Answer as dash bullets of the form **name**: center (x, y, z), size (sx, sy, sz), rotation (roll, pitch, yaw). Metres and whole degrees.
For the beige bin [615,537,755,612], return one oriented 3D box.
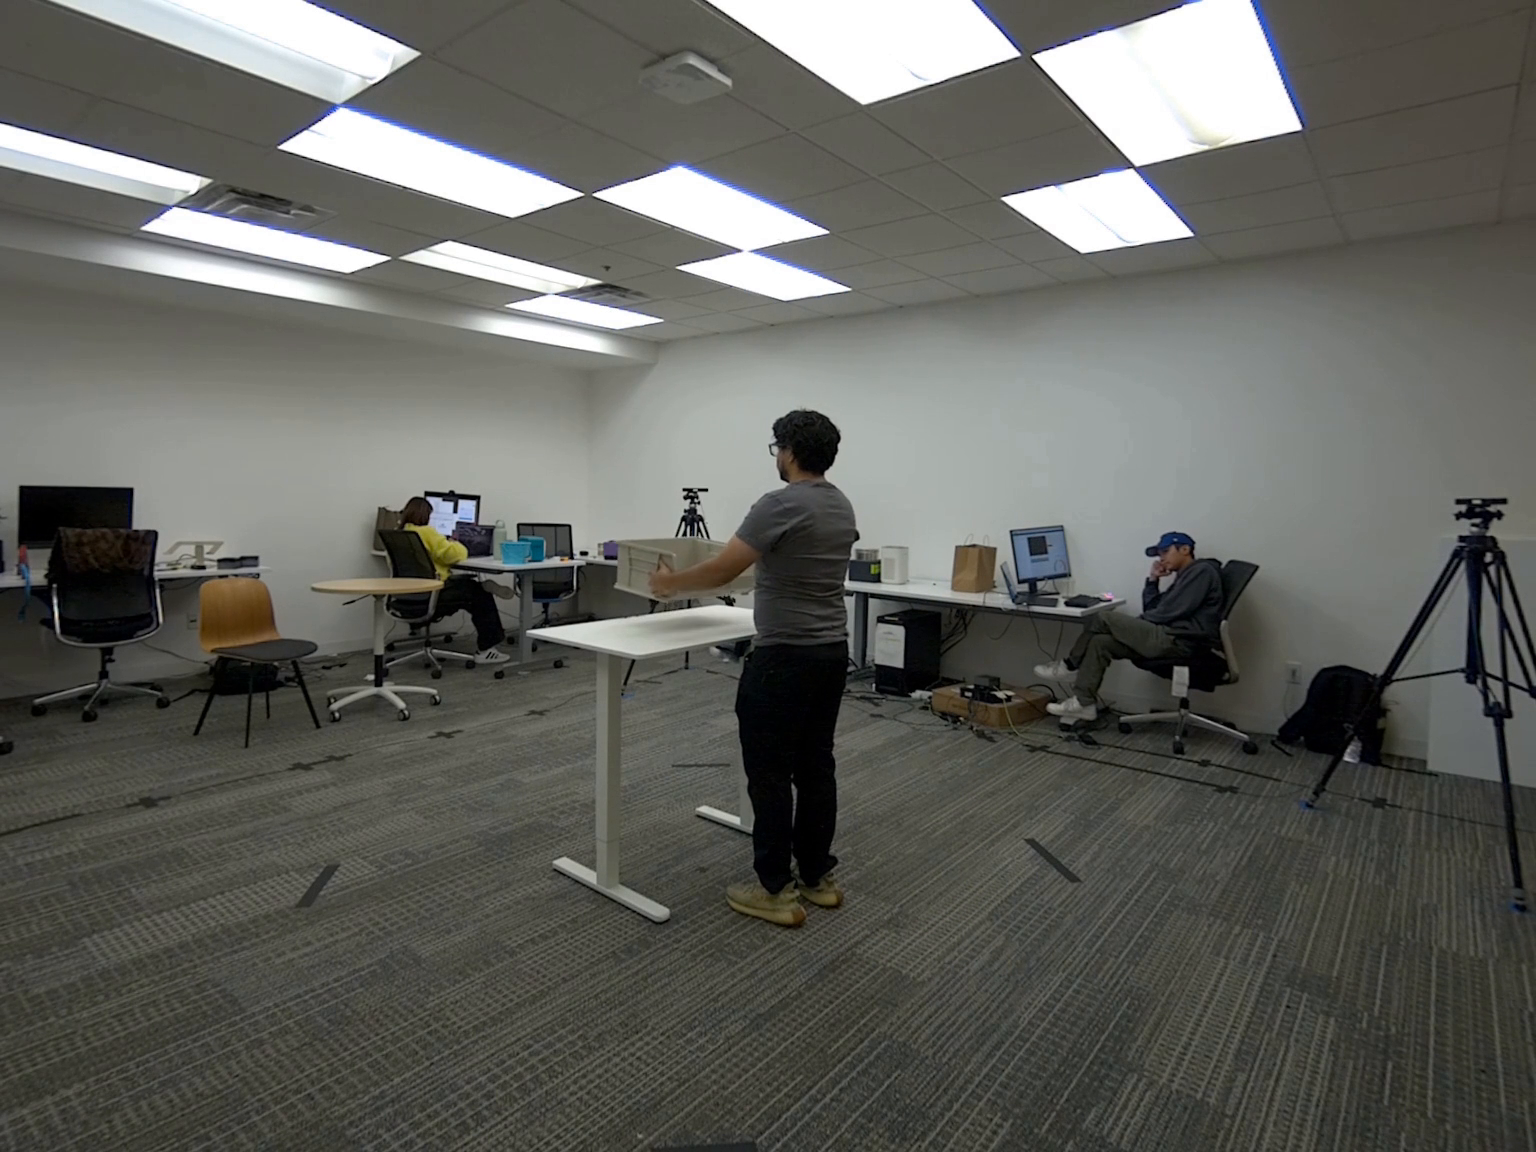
- **beige bin**: center (-0.315, -0.033, 3.199), size (0.410, 0.188, 0.391), rotation (-5, 12, -45)
